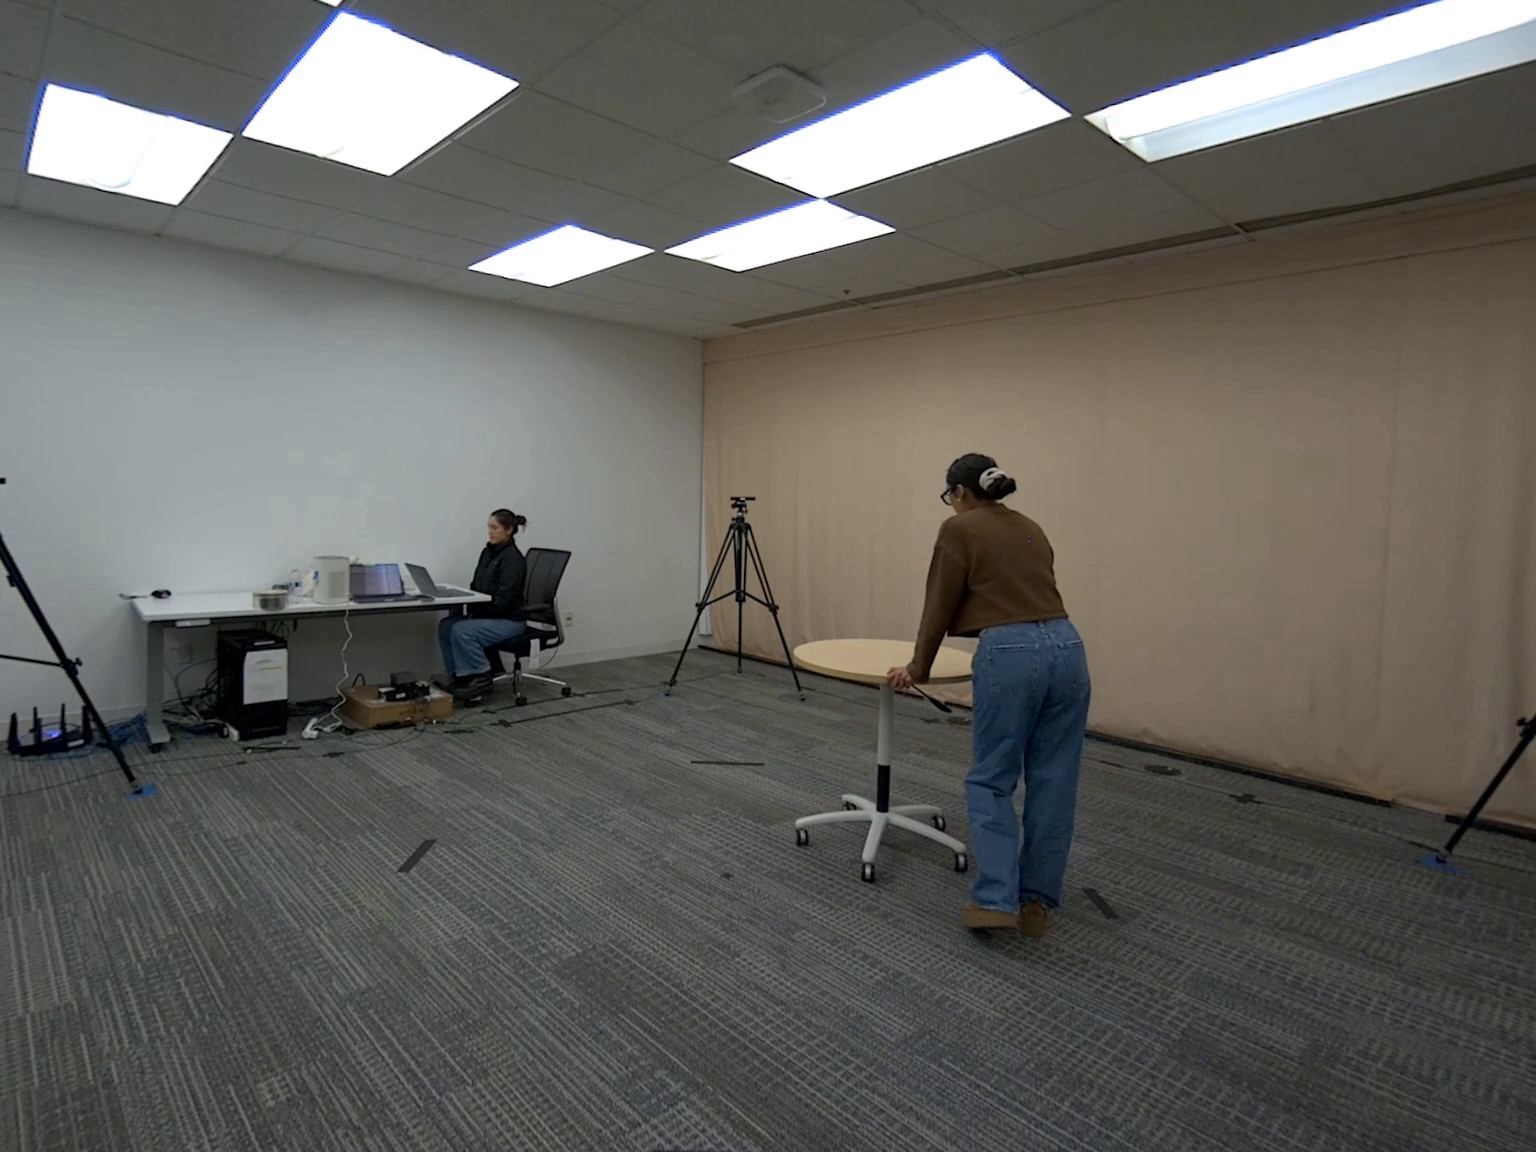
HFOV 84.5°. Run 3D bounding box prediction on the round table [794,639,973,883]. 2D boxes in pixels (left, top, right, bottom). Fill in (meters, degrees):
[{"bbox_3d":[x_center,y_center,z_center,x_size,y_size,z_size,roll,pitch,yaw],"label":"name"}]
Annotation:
[{"bbox_3d":[0.465,0.711,3.399,0.763,0.792,0.767,2,4,-1],"label":"round table"}]
